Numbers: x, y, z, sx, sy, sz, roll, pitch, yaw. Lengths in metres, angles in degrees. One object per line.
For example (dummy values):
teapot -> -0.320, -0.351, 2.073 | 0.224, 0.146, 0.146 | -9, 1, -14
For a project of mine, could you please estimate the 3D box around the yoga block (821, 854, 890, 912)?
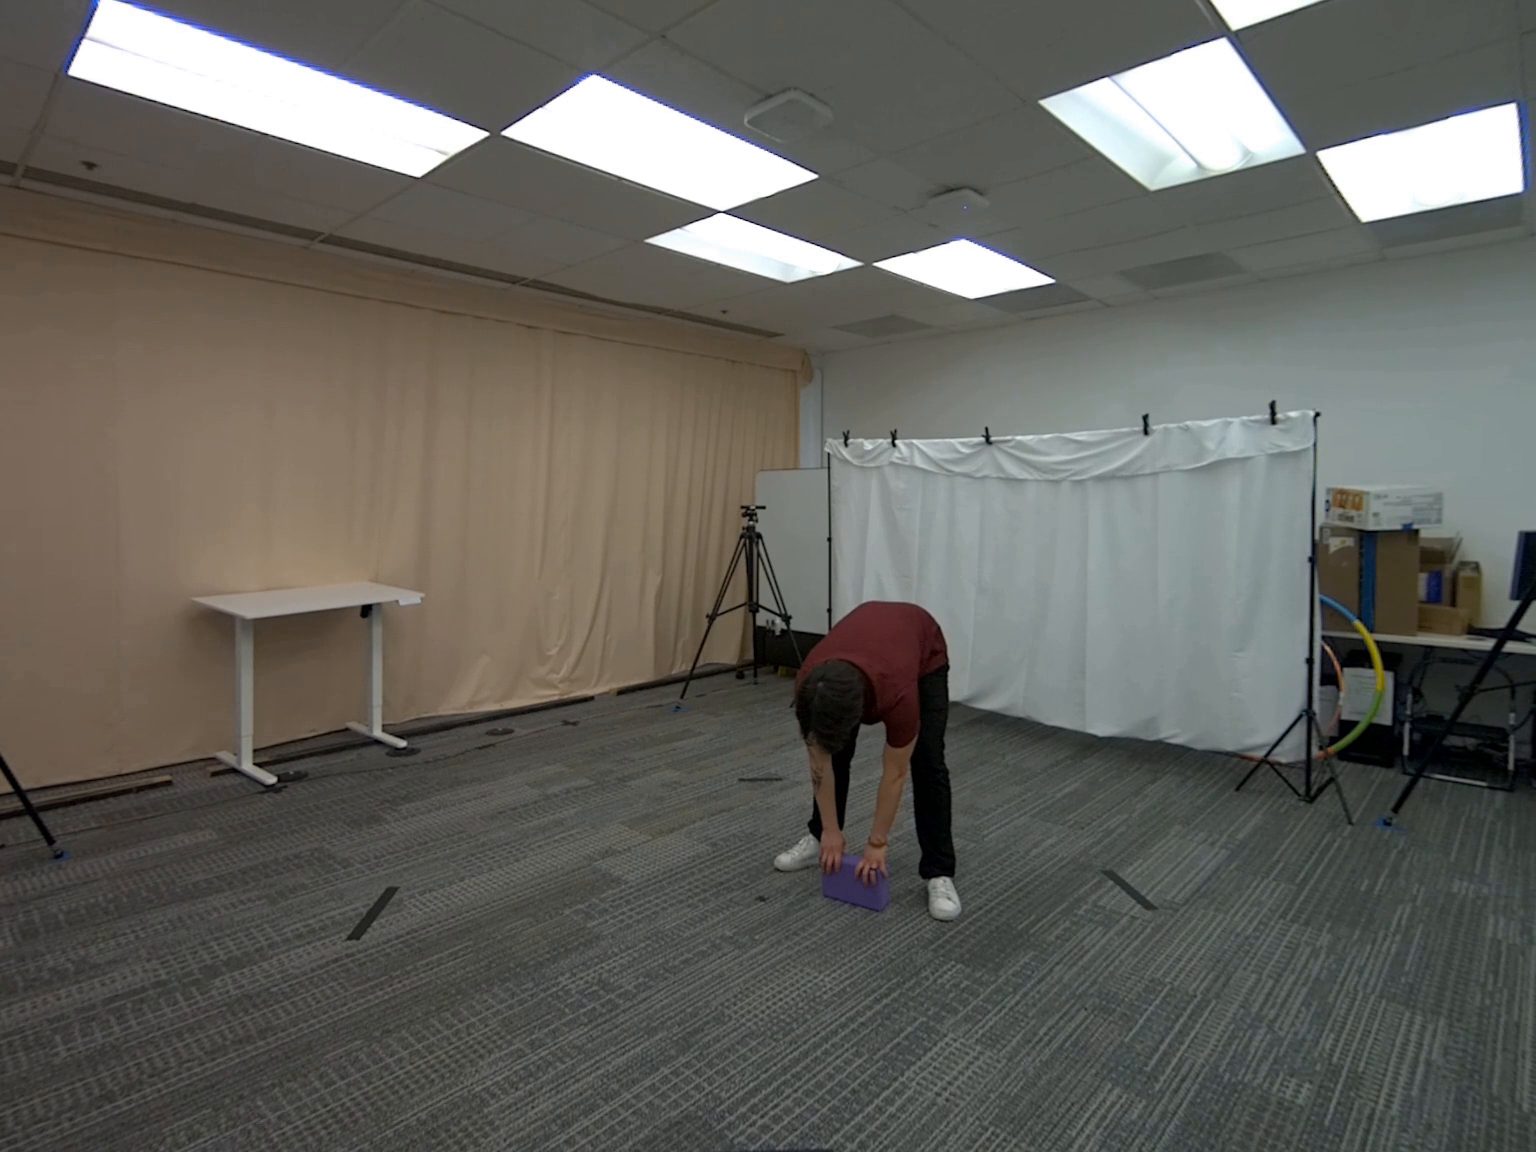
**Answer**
yoga block -> 0.316, 1.071, 2.974 | 0.236, 0.149, 0.074 | 3, -1, 32
